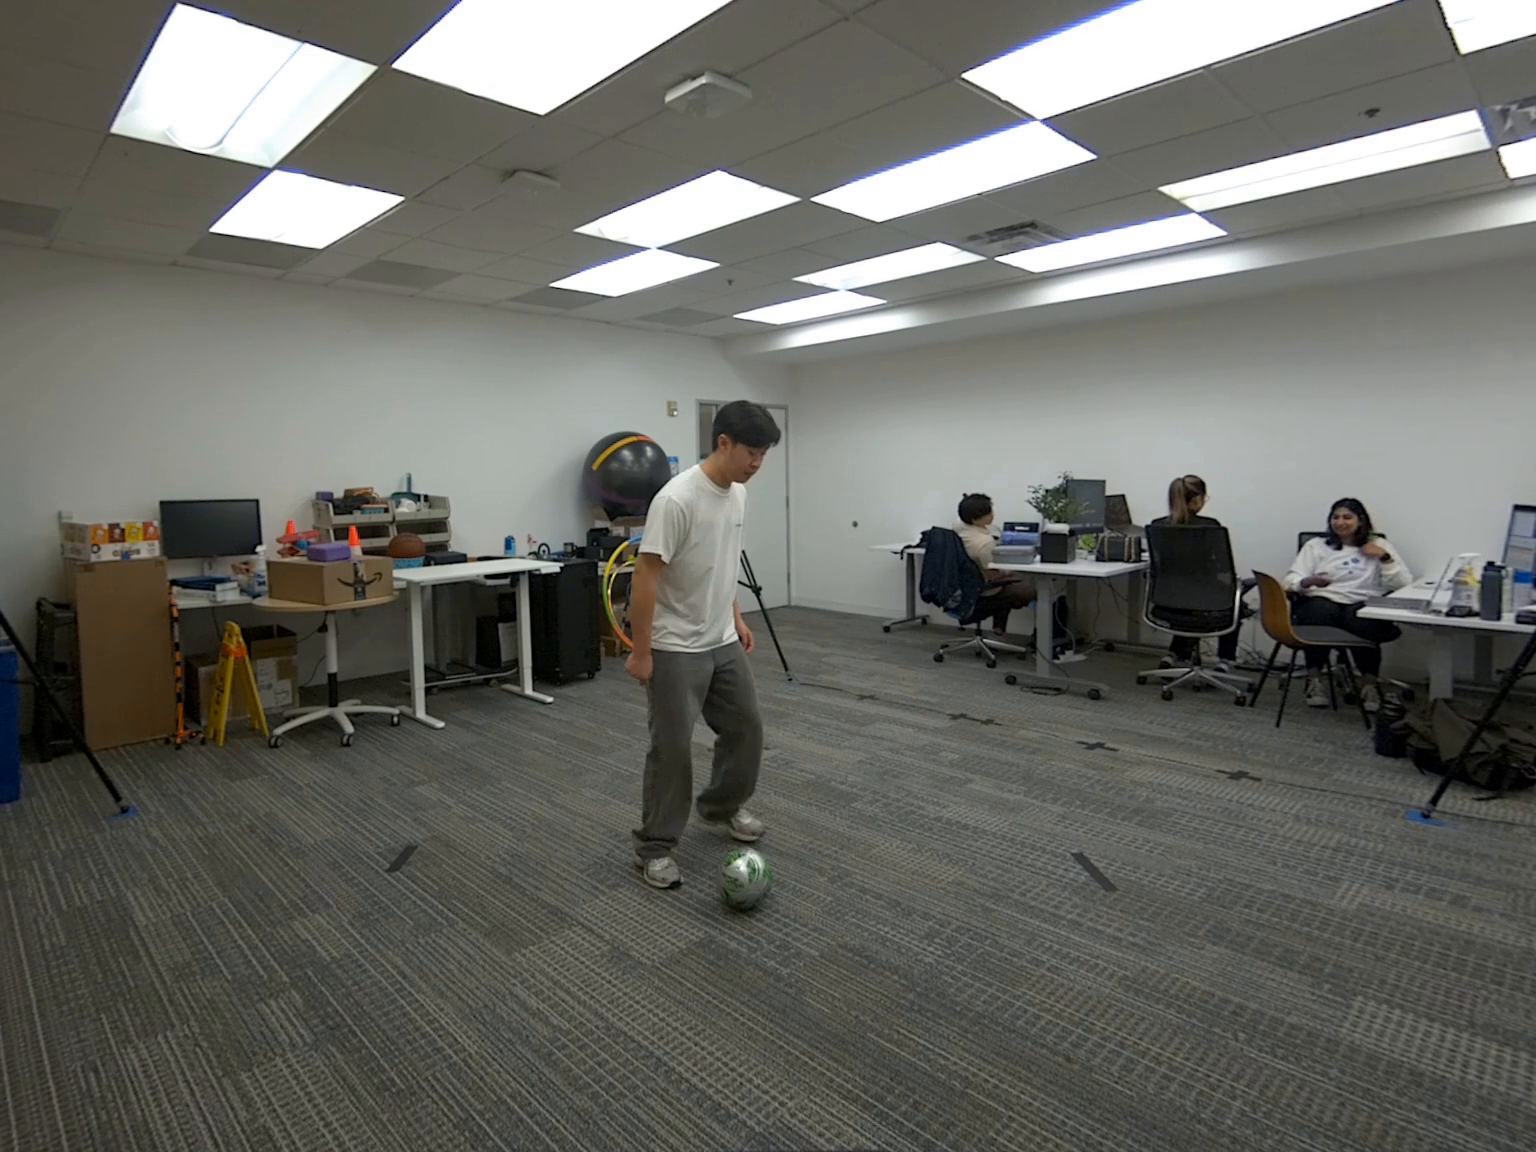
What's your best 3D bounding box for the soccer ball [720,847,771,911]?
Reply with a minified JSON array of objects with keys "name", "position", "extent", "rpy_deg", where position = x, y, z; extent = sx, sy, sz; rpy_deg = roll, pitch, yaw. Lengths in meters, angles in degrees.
[{"name":"soccer ball","position":[-0.079,0.990,2.800],"extent":[0.187,0.187,0.188],"rpy_deg":[-1,5,-2]}]
